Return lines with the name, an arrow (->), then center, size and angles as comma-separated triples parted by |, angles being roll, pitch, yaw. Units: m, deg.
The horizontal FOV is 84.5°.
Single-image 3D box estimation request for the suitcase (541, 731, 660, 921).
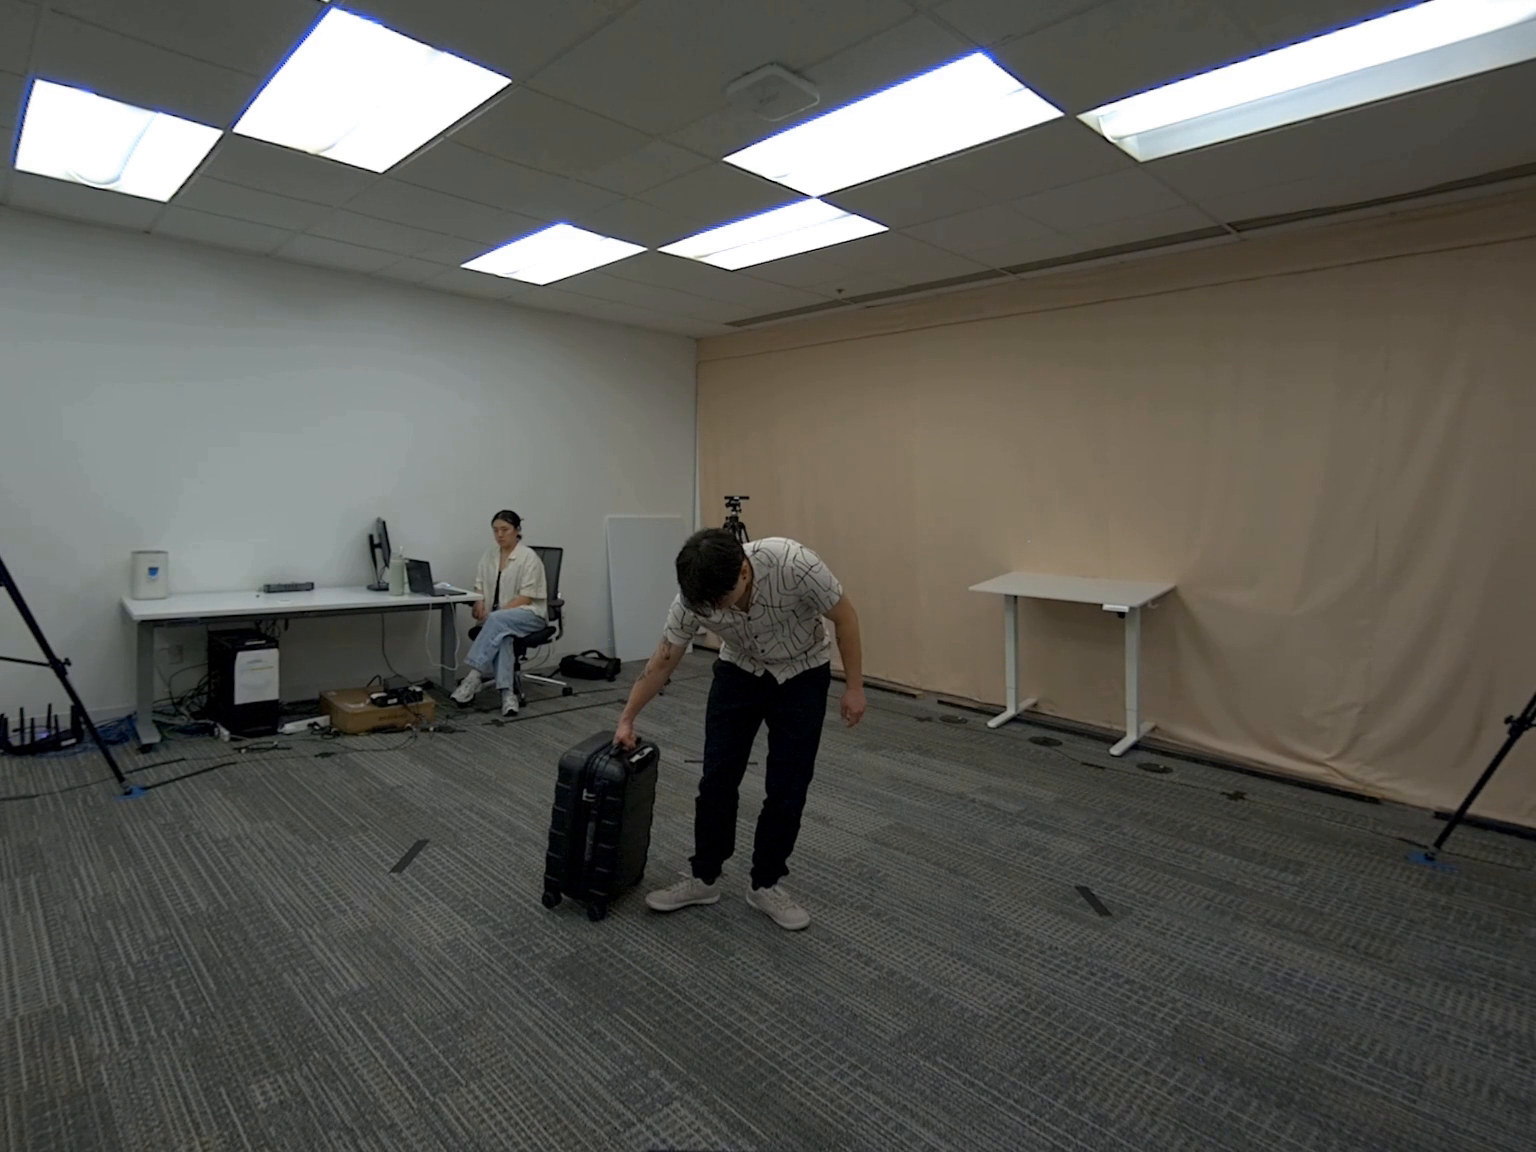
suitcase -> -0.571, 0.832, 2.882 | 0.252, 0.547, 0.371 | 9, 6, 16
